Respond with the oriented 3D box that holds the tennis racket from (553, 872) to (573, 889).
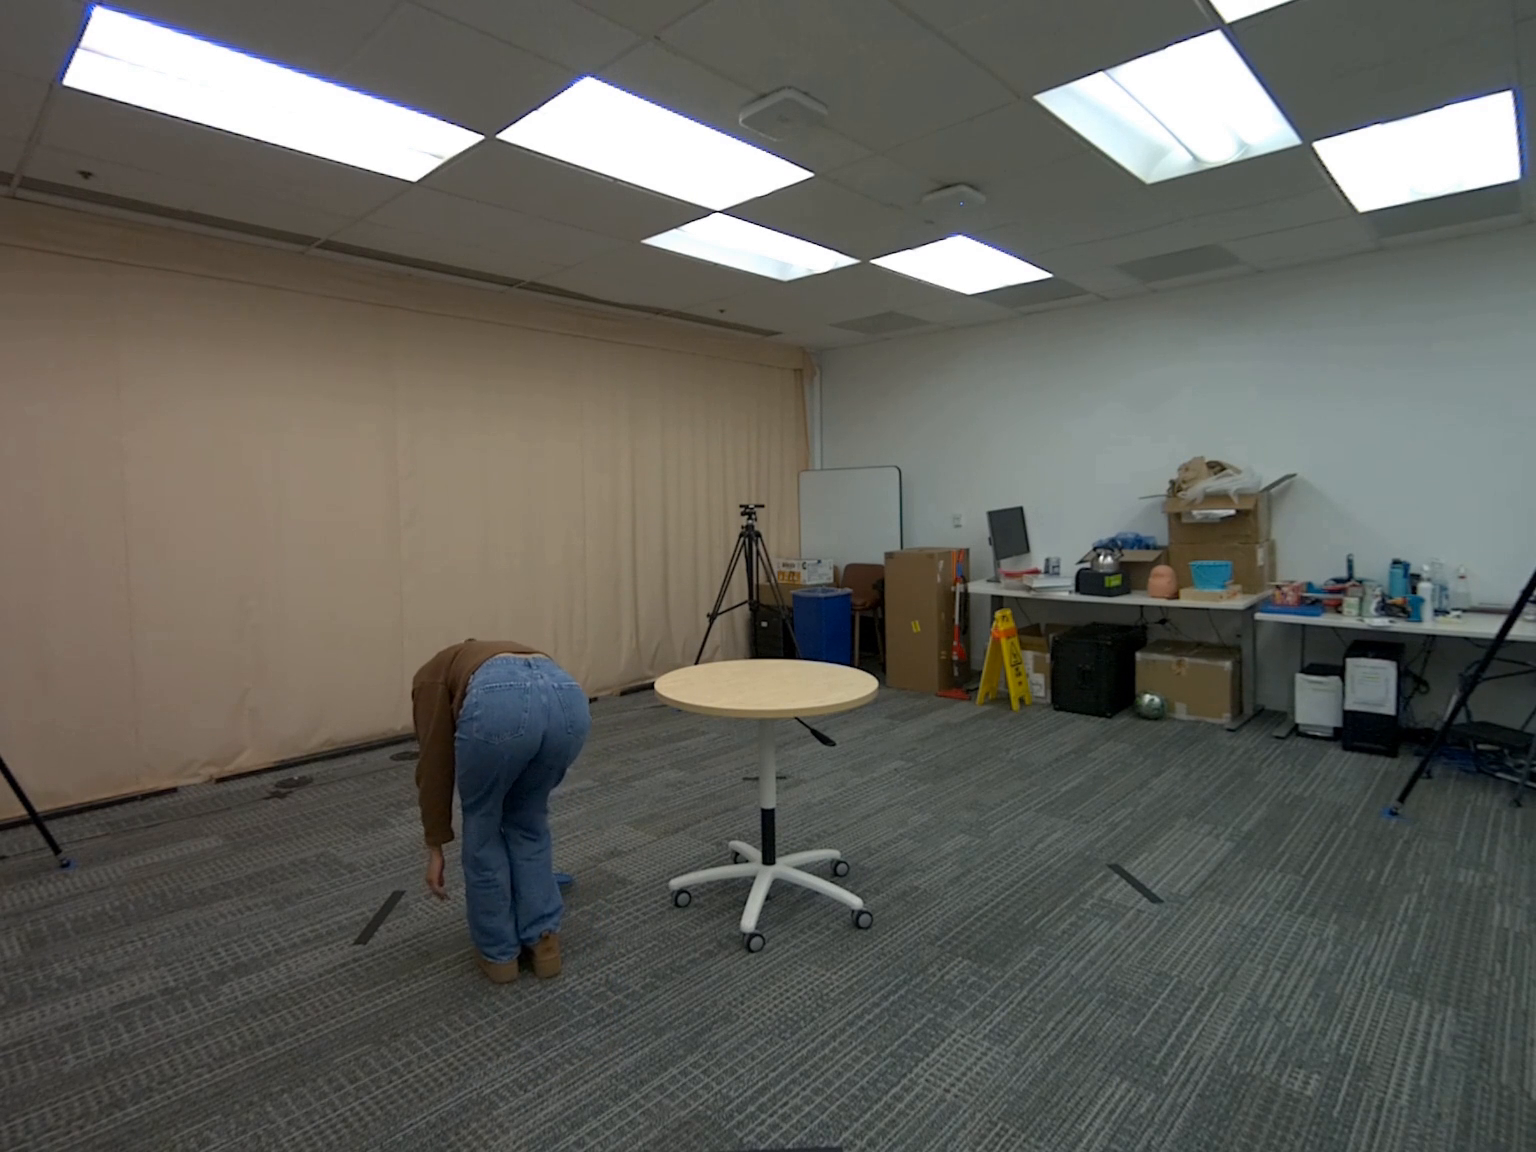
[{"bbox_3d":[-0.853,1.070,2.984,0.217,0.032,0.422,3,-14,14],"label":"tennis racket"}]
